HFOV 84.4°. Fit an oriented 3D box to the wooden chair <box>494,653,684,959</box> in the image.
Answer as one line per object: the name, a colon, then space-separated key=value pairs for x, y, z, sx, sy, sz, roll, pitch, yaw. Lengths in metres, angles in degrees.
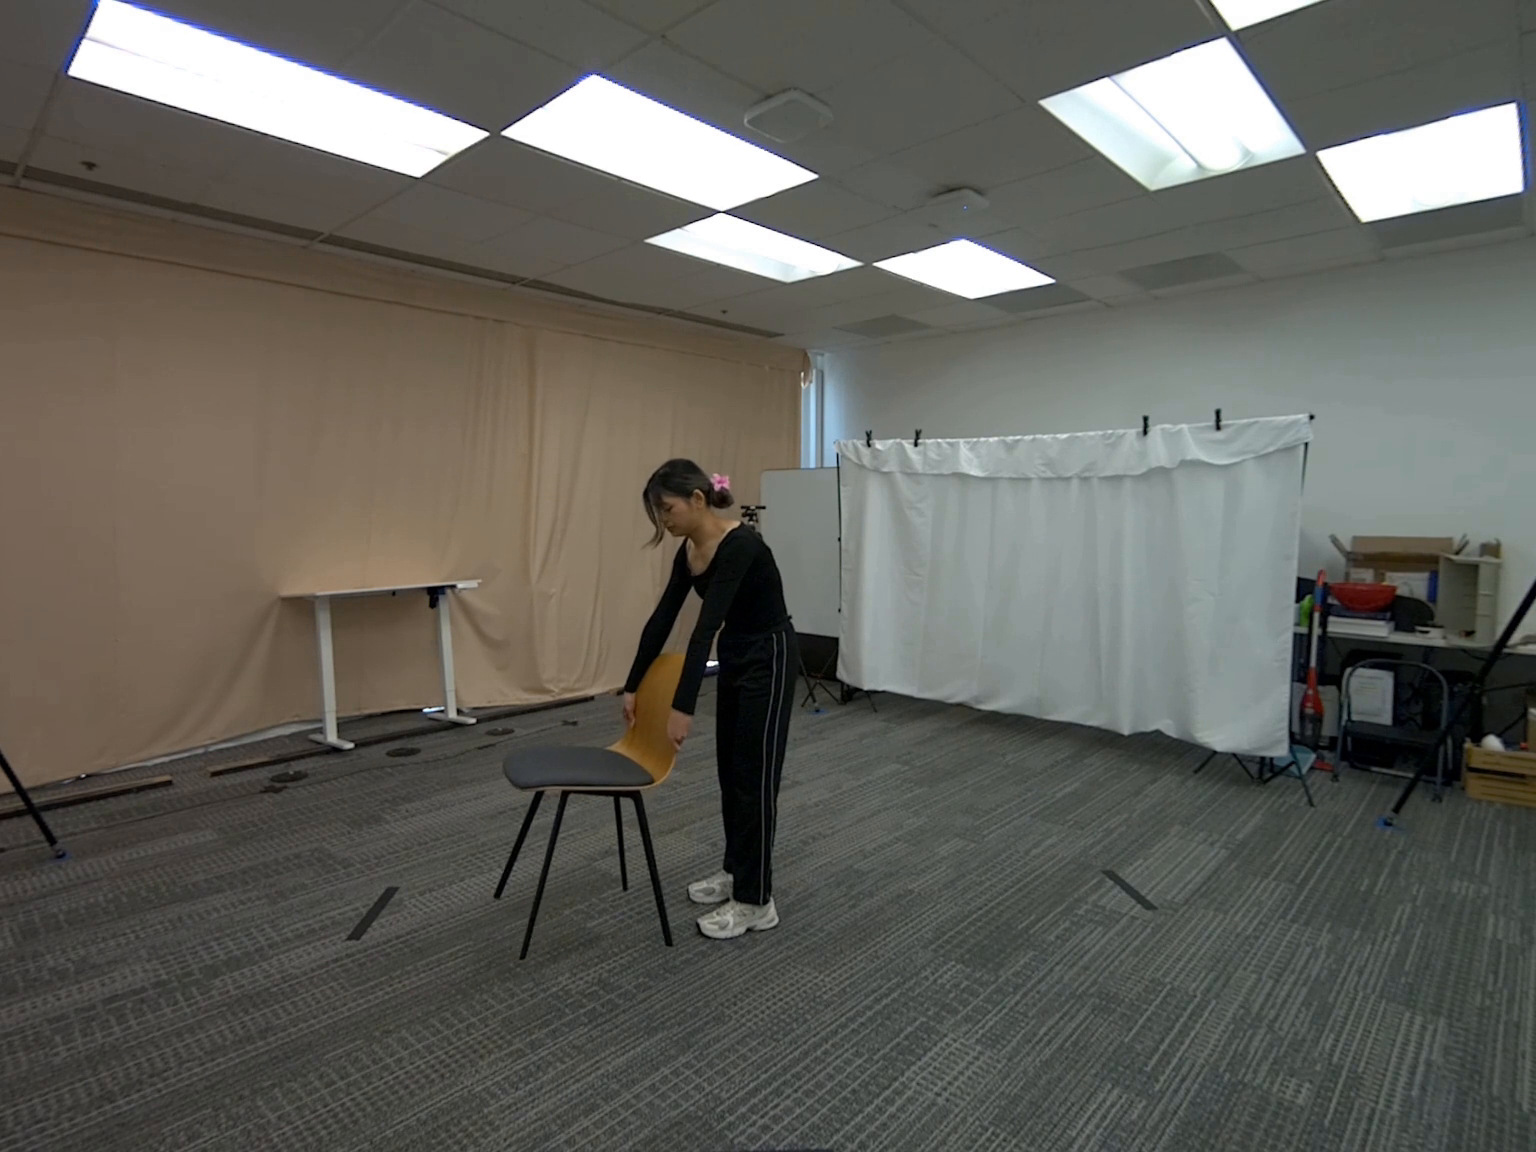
wooden chair: x=-0.542 y=0.657 z=2.614 sx=0.509 sy=0.879 sz=0.490 roll=11 pitch=-4 yaw=-25
